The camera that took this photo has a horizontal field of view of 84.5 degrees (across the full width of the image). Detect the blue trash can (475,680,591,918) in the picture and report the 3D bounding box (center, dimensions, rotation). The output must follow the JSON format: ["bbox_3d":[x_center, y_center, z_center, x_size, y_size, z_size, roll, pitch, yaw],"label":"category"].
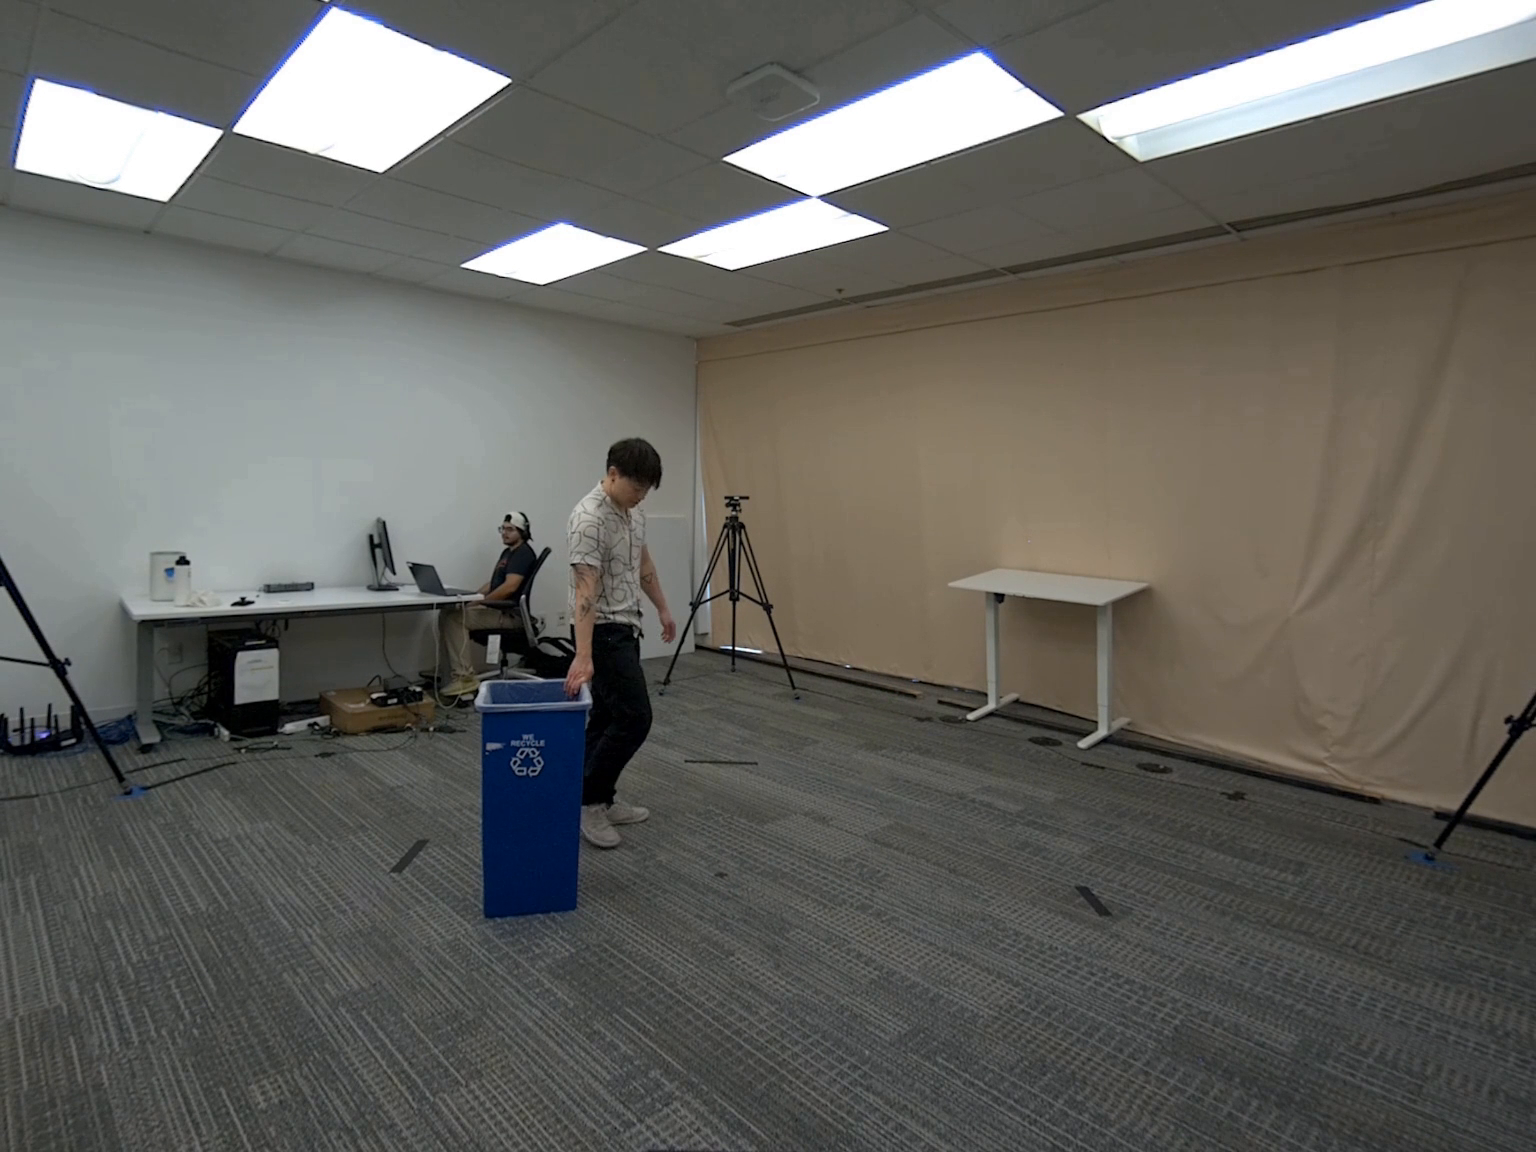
[{"bbox_3d":[-0.816,0.750,2.908,0.370,0.711,0.383,1,4,-15],"label":"blue trash can"}]
